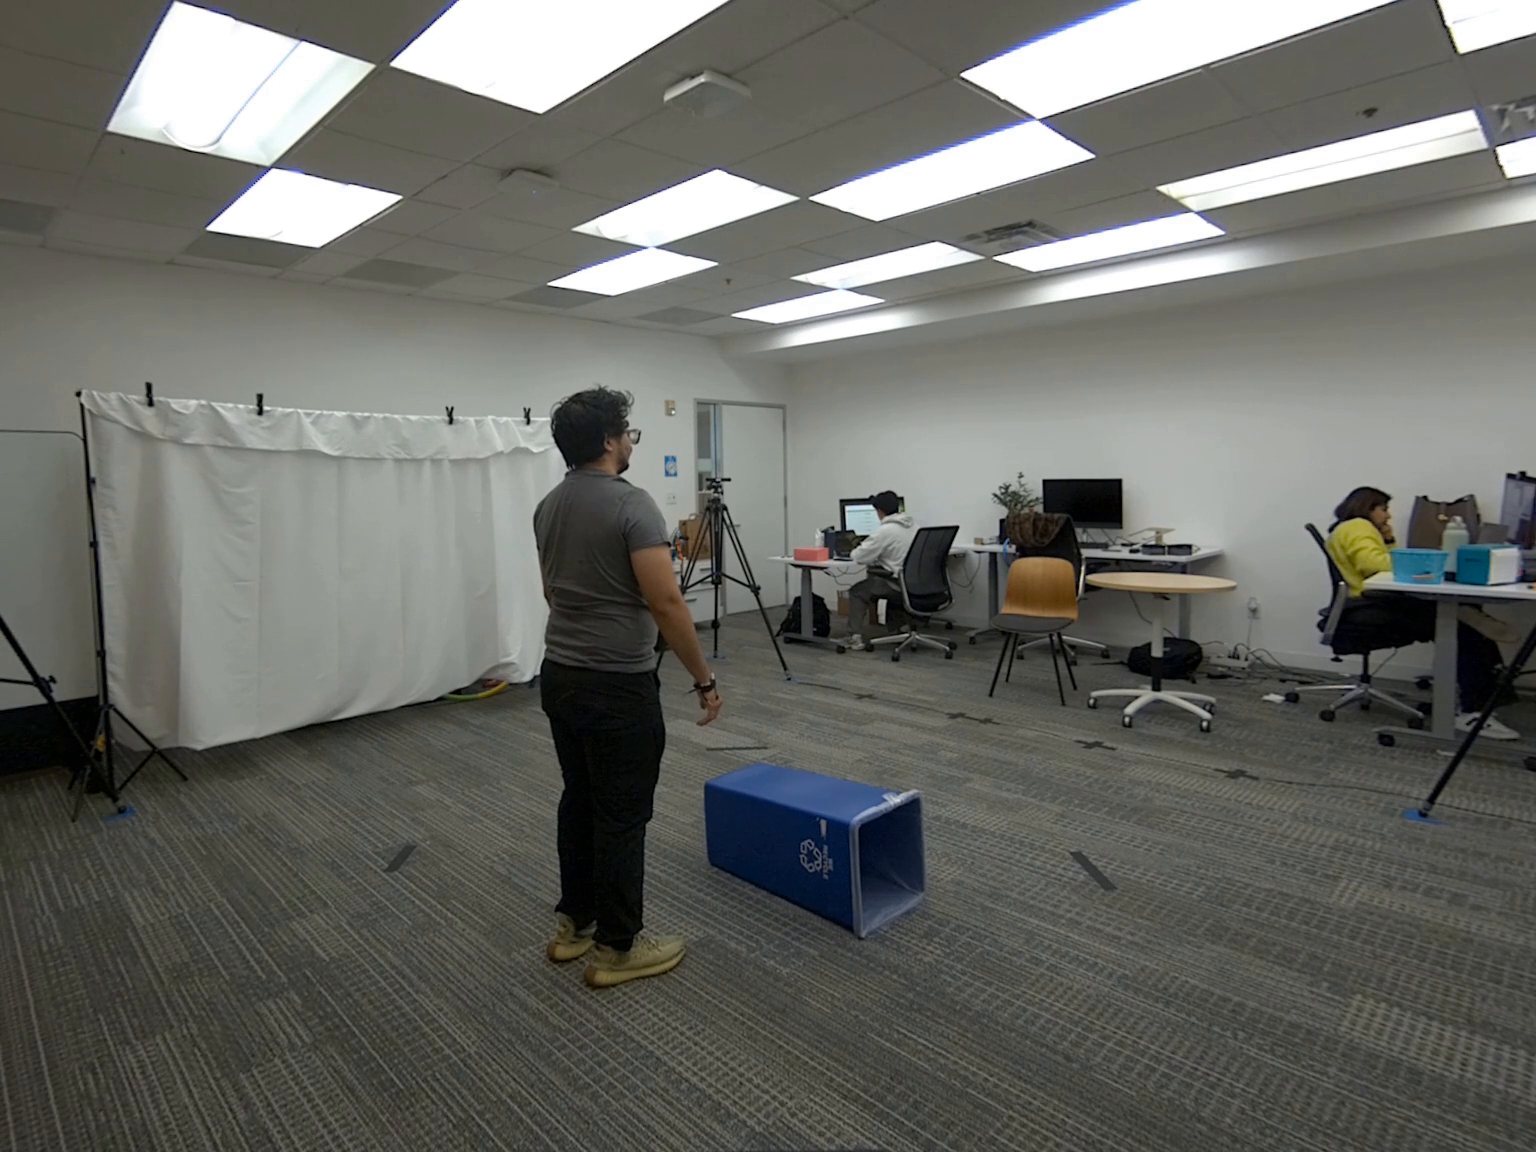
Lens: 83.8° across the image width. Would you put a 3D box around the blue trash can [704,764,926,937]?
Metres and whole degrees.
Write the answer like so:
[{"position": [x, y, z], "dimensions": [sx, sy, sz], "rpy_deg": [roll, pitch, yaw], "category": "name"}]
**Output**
[{"position": [0.141, 0.885, 2.949], "dimensions": [0.364, 0.377, 0.735], "rpy_deg": [-7, 6, -44], "category": "blue trash can"}]
